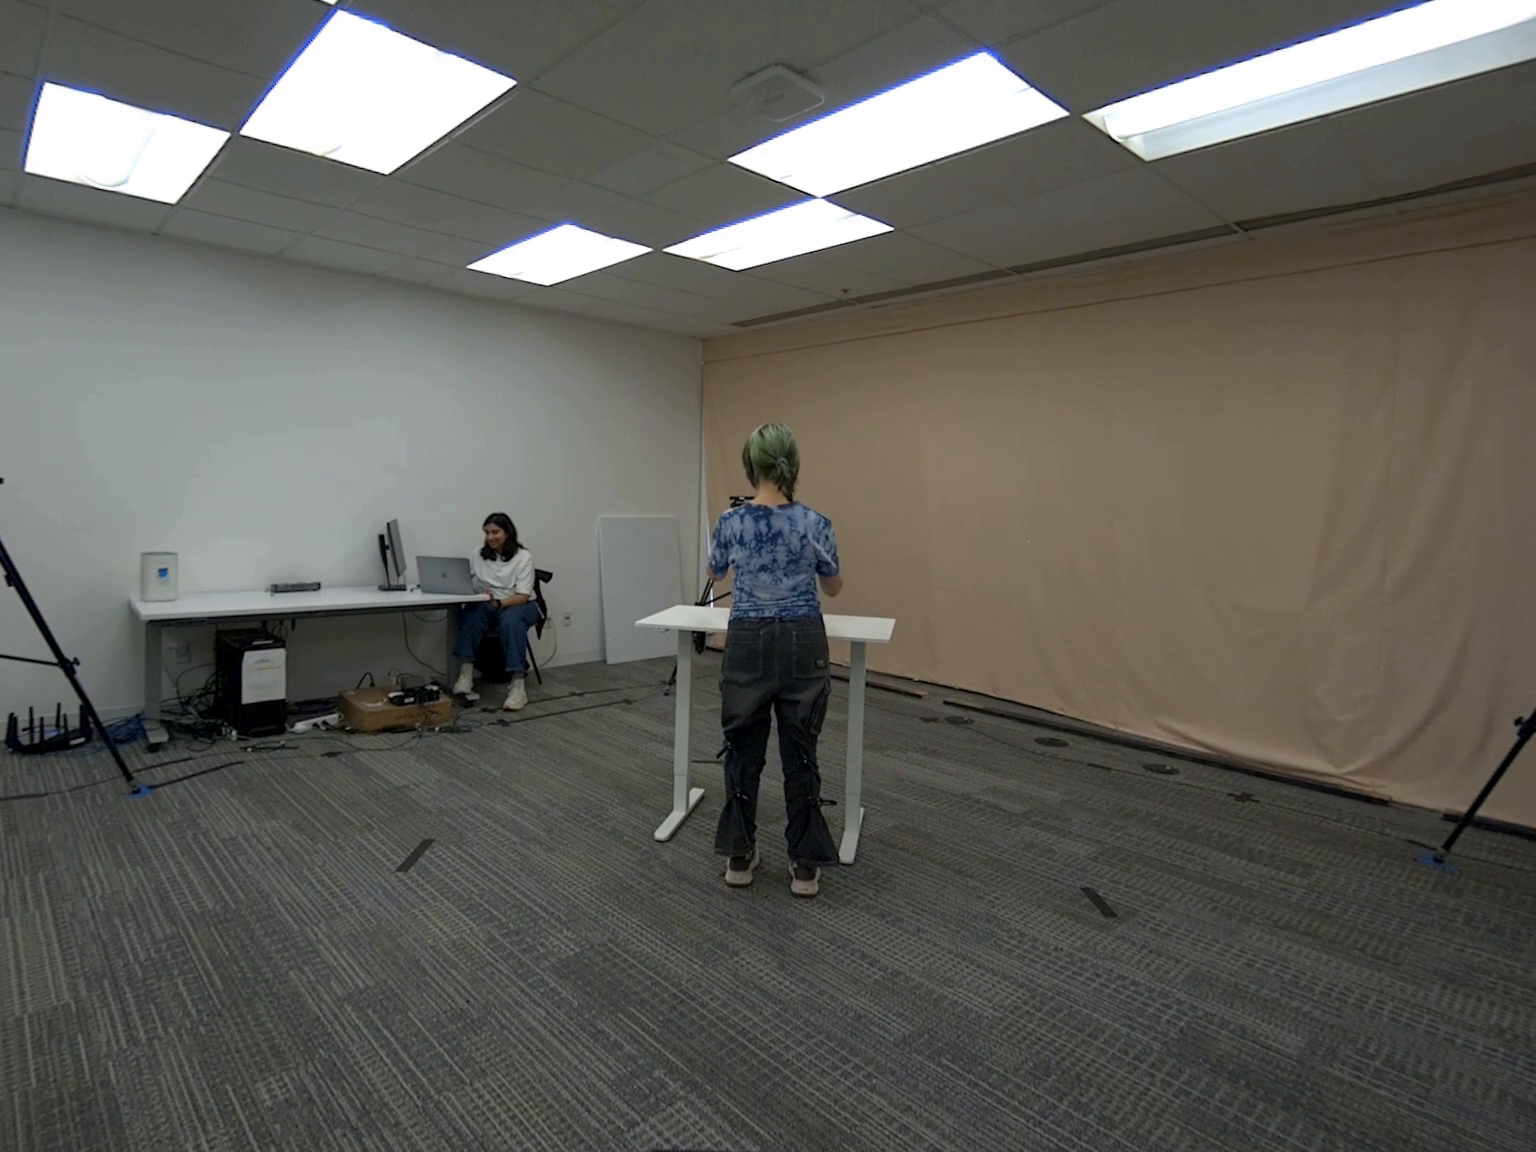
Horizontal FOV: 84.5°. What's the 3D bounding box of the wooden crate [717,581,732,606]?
[{"bbox_3d":[0.019,0.054,3.568,0.327,0.273,0.299,4,3,11],"label":"wooden crate"}]
